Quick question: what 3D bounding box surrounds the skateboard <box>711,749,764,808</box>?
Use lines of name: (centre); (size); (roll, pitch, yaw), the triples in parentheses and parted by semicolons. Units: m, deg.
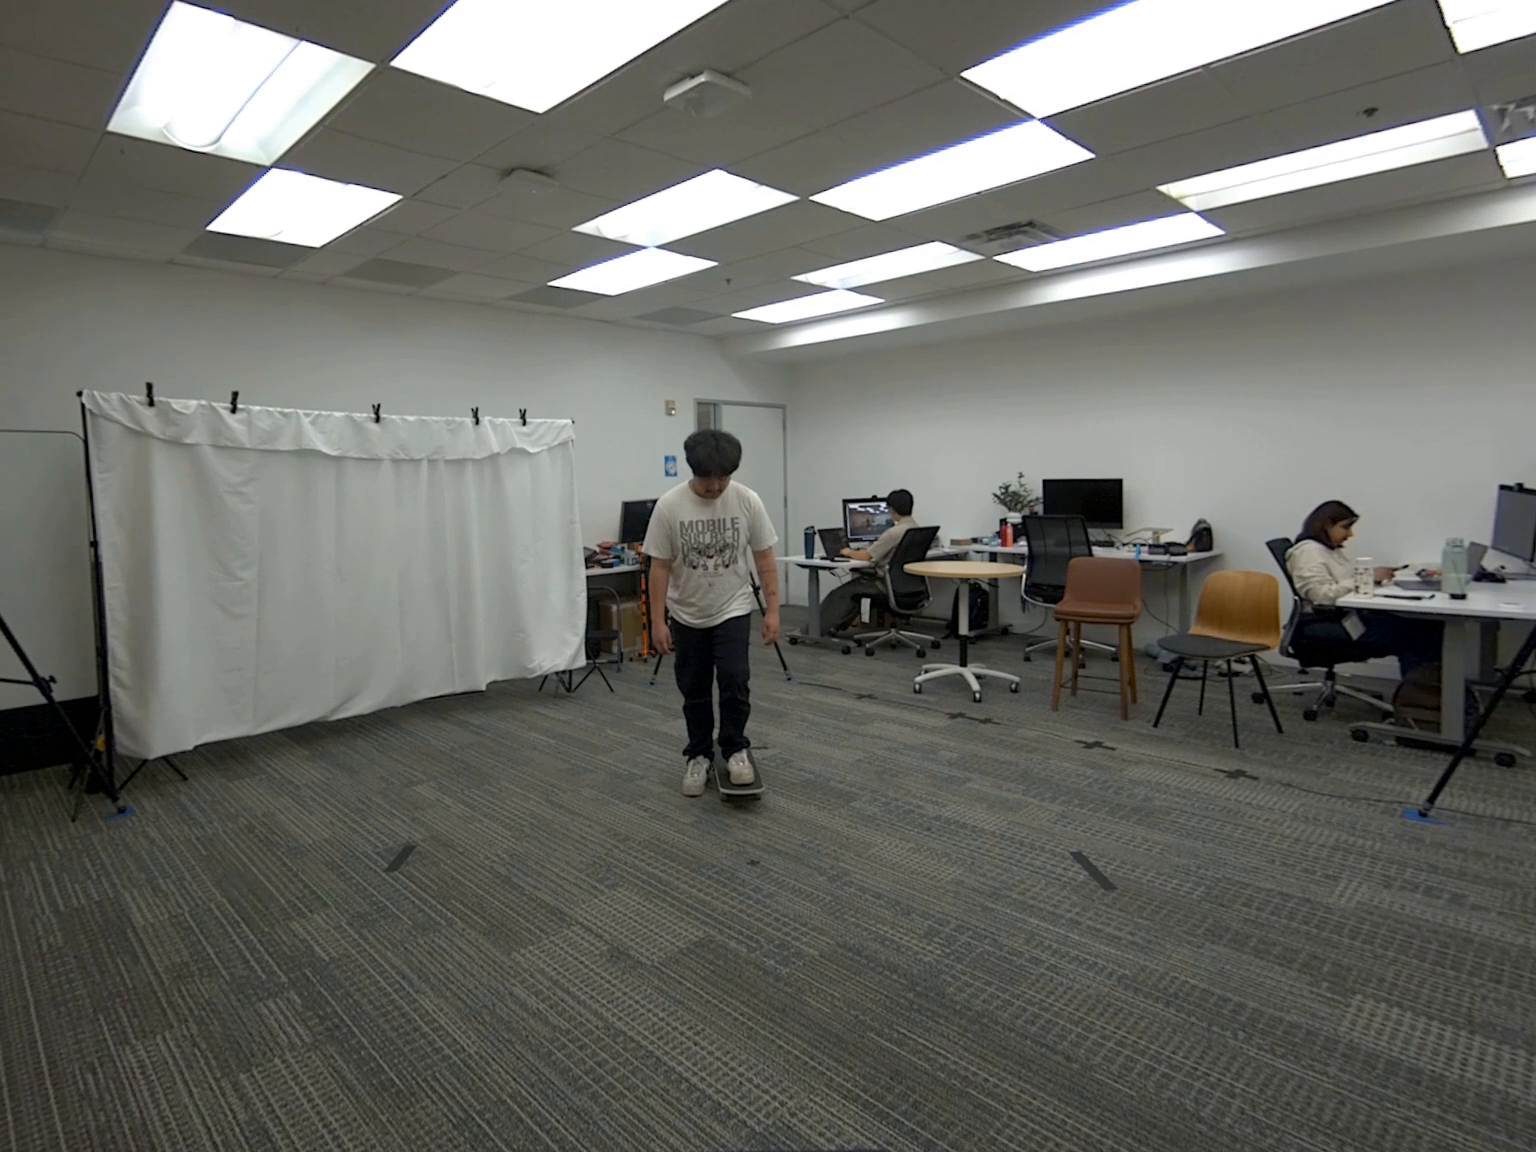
skateboard: (-0.148, 0.896, 3.914); (0.192, 0.110, 0.794); (-3, 7, -7)
